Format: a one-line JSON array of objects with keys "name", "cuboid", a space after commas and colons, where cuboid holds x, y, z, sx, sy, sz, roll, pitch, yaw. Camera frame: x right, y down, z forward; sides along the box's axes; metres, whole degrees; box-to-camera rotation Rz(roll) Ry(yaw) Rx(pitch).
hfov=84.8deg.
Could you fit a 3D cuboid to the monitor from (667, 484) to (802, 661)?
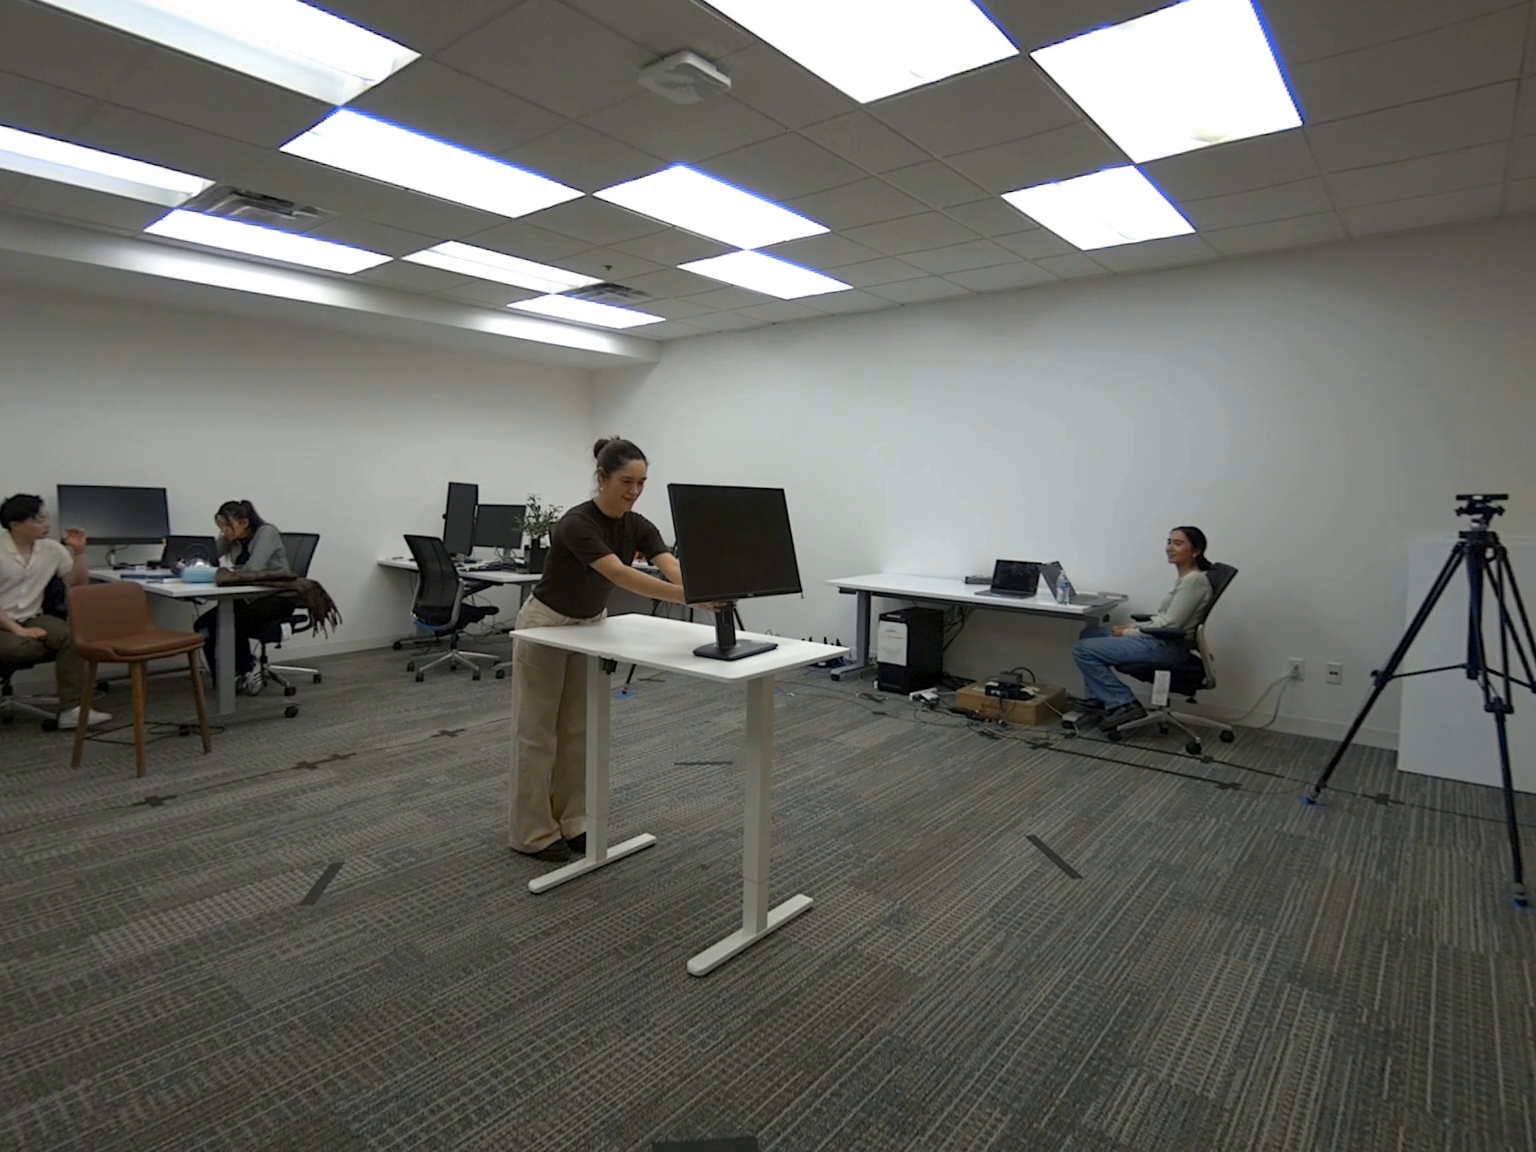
[{"name": "monitor", "cuboid": [-0.118, -0.018, 2.636, 0.193, 0.522, 0.523, 1, 3, 38]}]
